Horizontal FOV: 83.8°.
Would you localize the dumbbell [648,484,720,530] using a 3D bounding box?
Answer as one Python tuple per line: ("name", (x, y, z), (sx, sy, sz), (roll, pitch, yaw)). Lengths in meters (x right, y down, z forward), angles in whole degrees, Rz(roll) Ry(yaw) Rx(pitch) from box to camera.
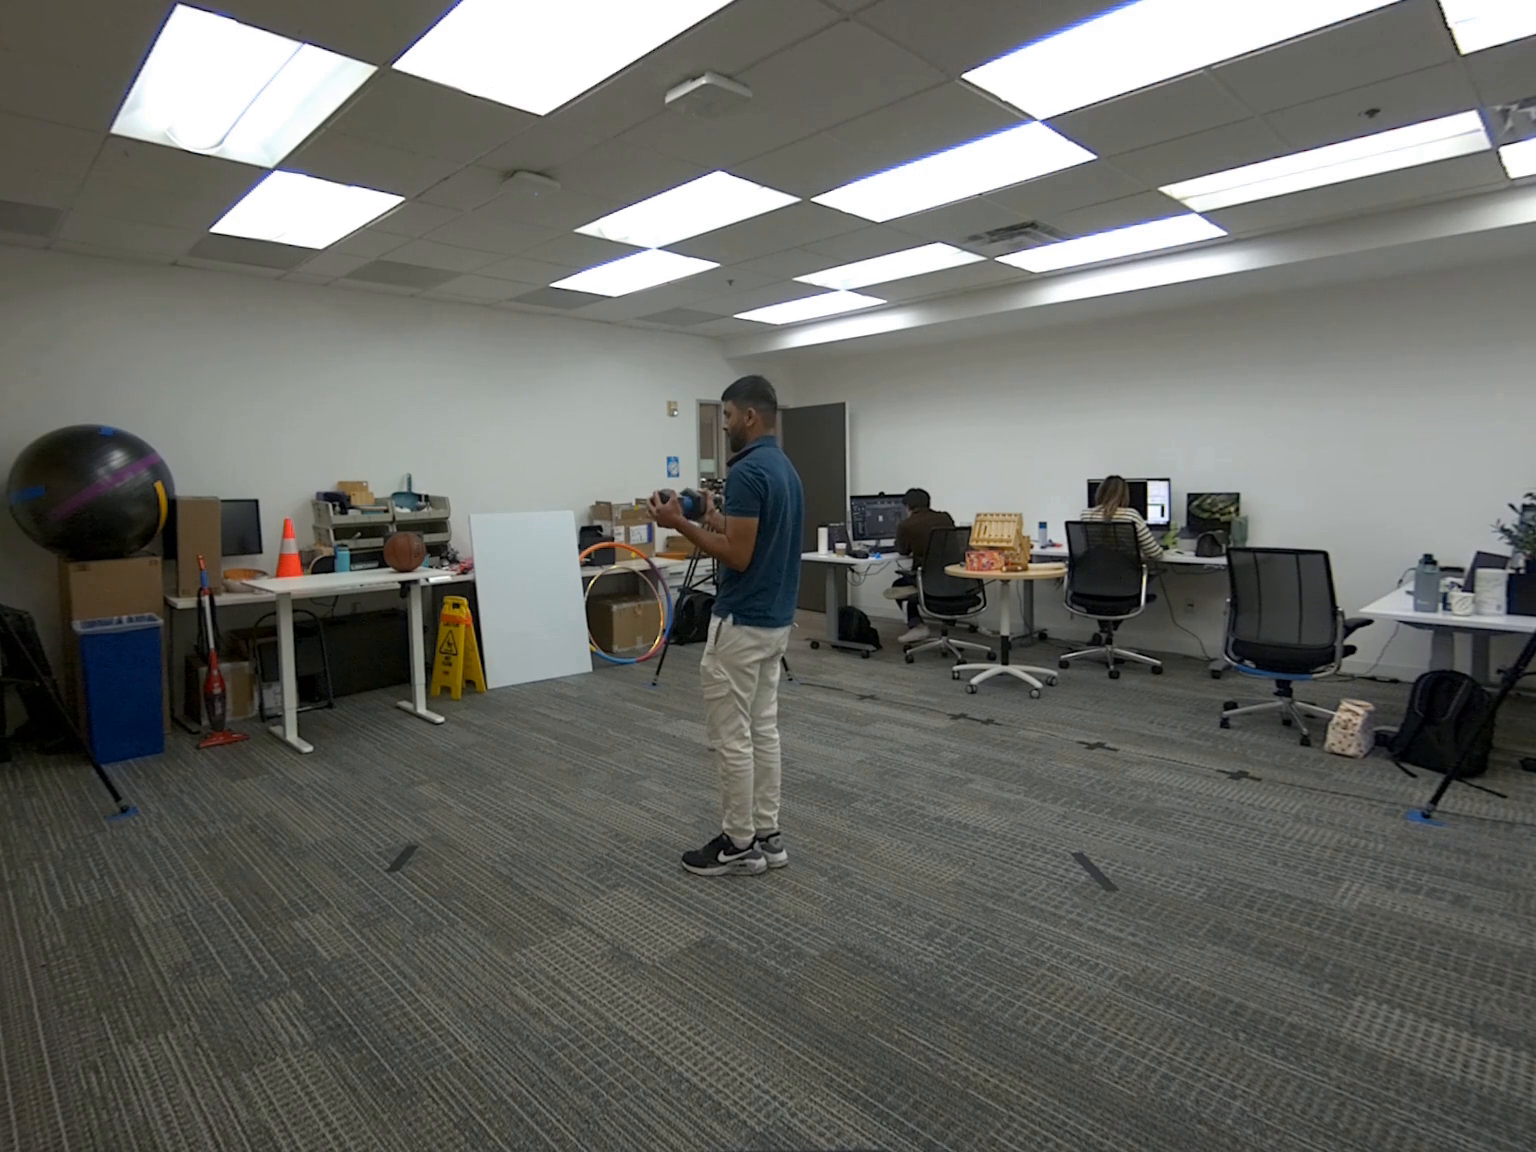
("dumbbell", (-0.301, -0.252, 3.123), (0.123, 0.110, 0.289), (-34, -7, 18))
